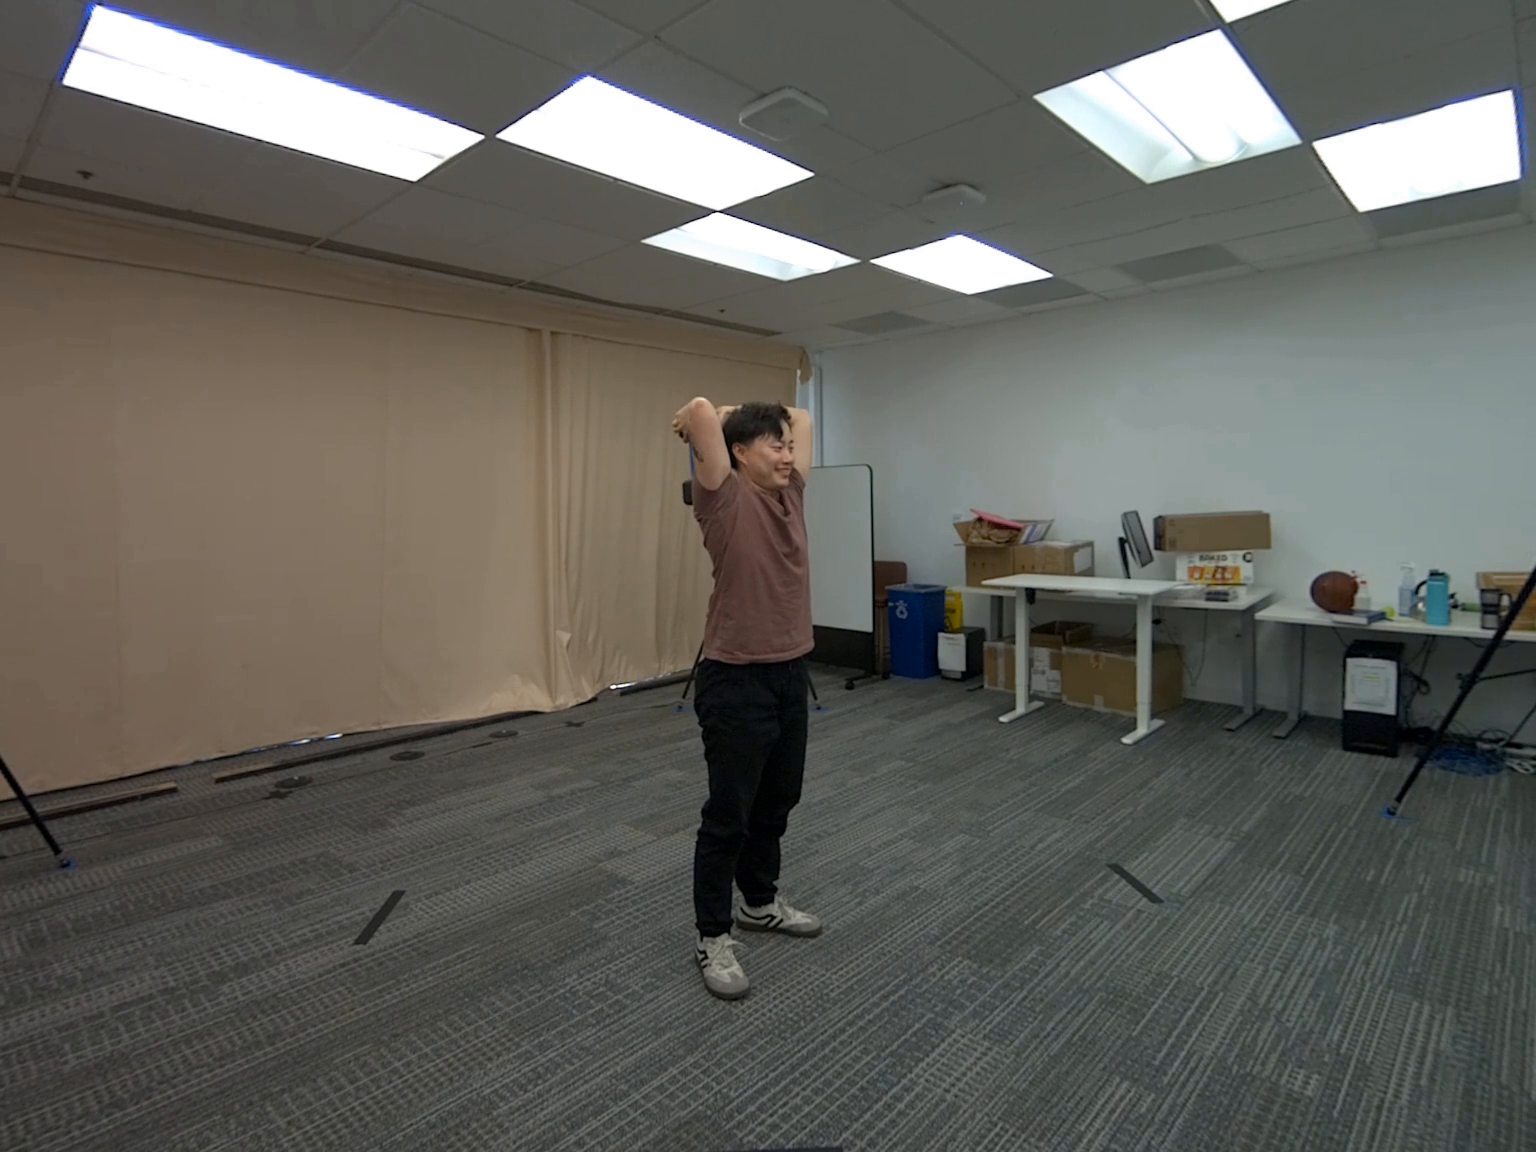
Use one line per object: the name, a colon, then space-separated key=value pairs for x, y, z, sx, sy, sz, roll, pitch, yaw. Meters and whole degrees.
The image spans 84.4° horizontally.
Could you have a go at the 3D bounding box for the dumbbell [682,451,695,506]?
dumbbell: x=-0.206 y=-0.379 z=2.680 sx=0.105 sy=0.293 sz=0.127 roll=1 pitch=0 yaw=-37
